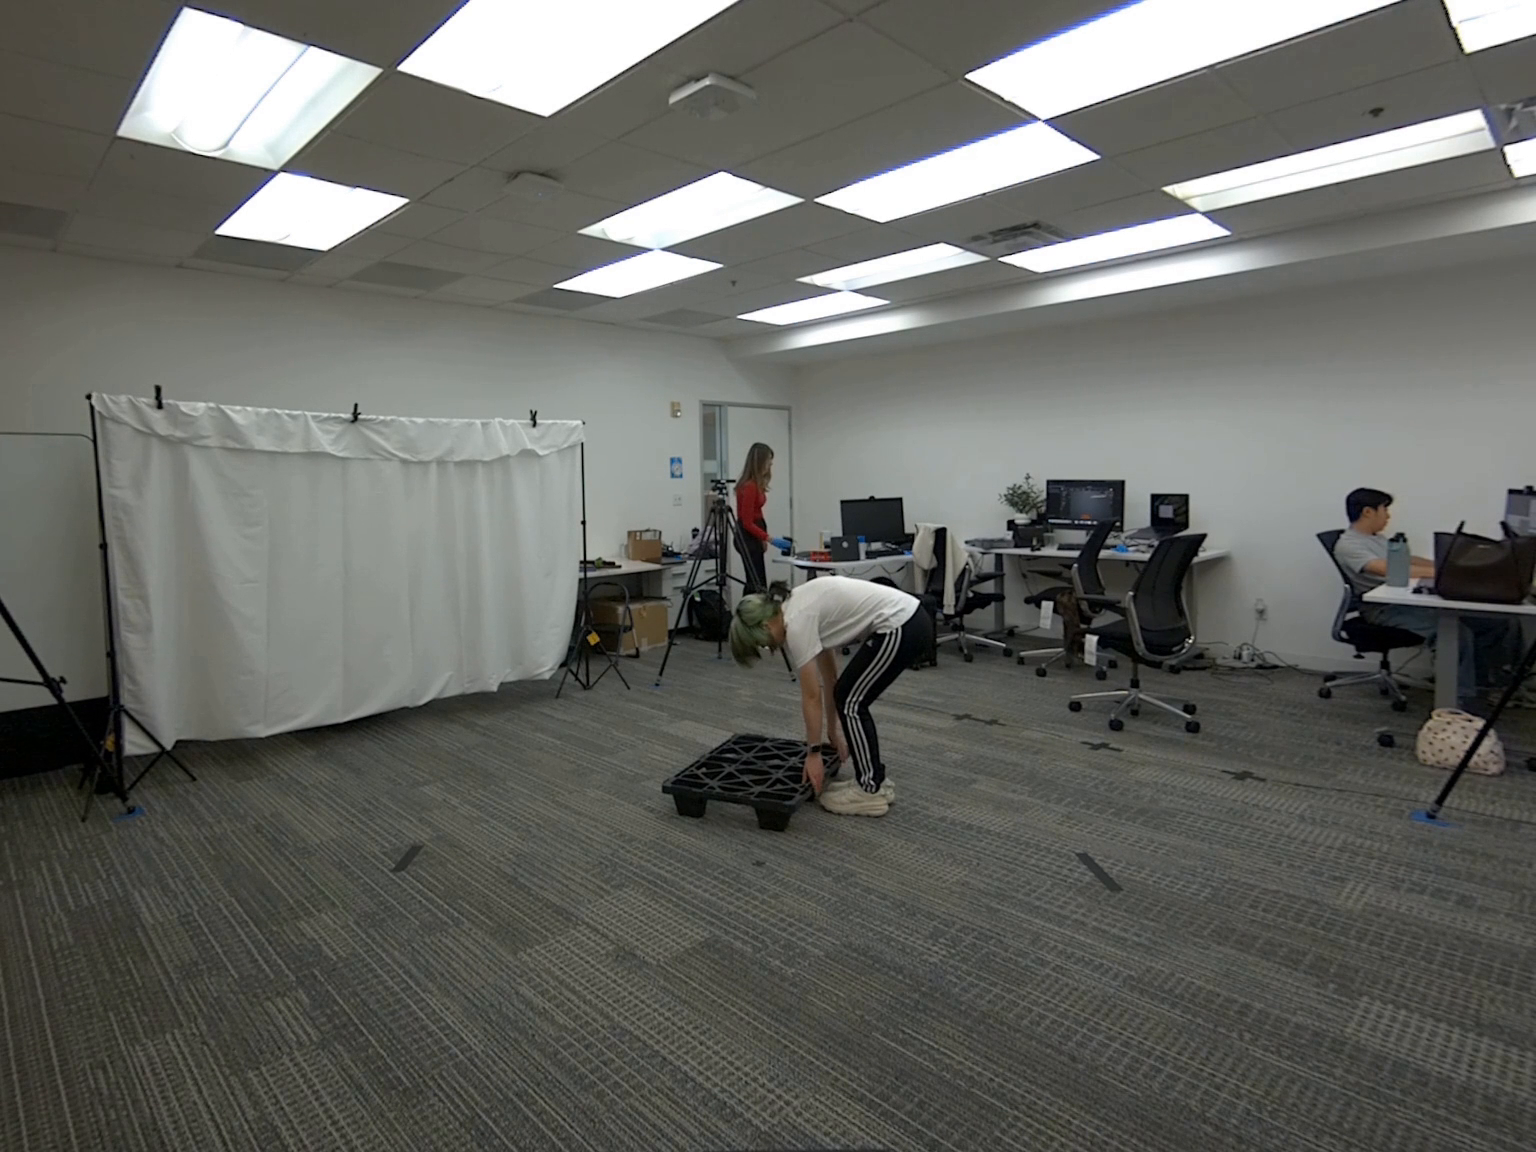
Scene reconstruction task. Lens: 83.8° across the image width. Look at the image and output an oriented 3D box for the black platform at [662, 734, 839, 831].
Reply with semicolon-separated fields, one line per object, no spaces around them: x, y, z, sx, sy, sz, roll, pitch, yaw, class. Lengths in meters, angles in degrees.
-0.028;0.899;3.803;0.618;0.143;0.792;1;7;23;black platform
